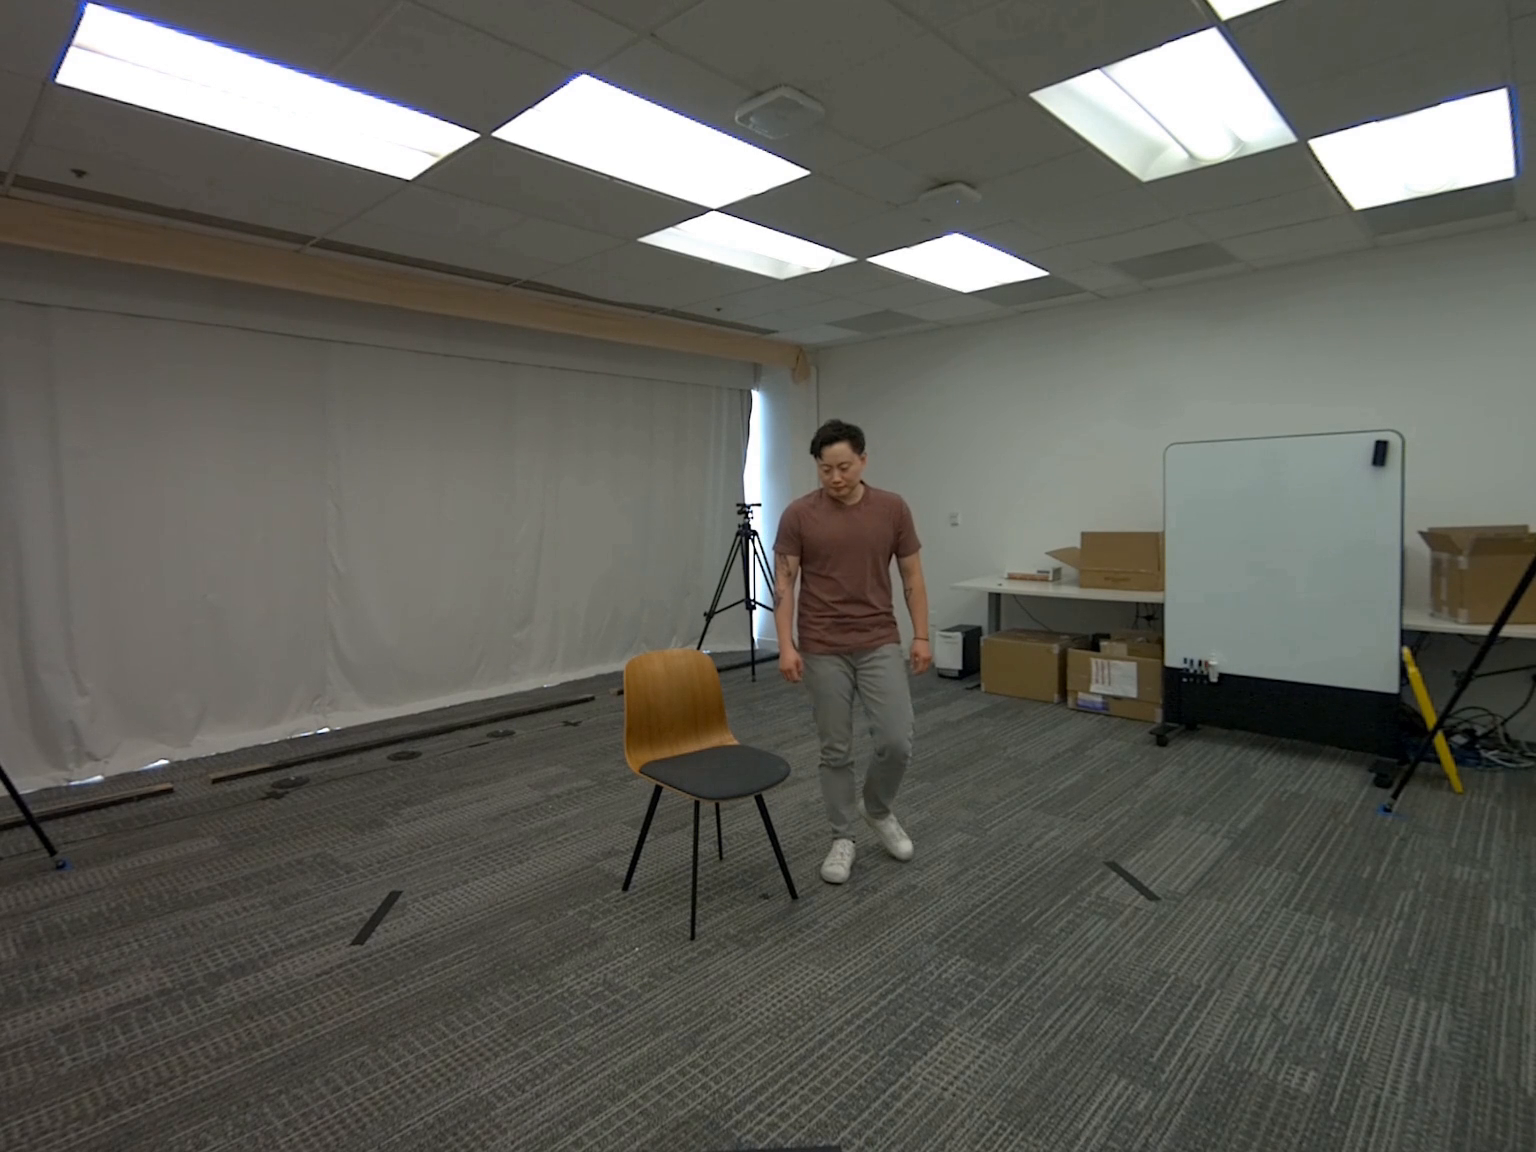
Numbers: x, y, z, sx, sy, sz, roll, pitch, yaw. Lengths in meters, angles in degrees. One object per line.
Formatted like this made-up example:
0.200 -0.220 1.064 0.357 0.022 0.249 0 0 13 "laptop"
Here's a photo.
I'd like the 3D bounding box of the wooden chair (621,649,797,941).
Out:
-0.213 0.715 2.962 0.464 0.877 0.539 -4 0 -38 "wooden chair"
